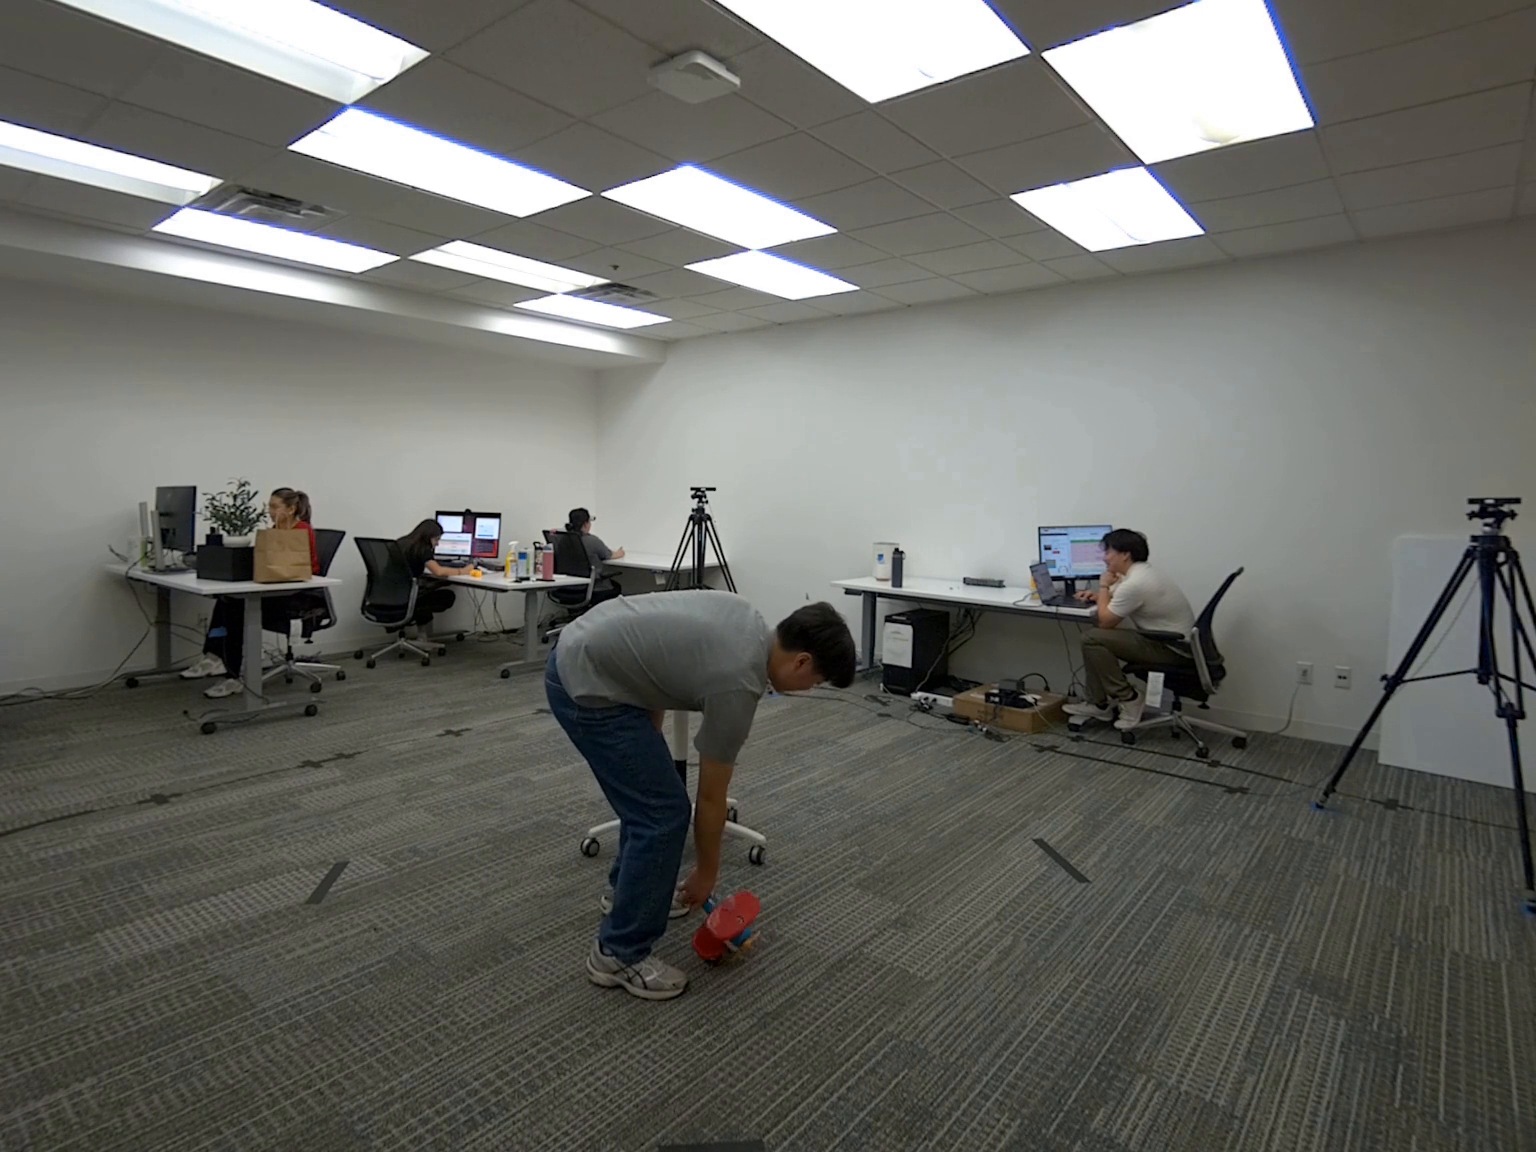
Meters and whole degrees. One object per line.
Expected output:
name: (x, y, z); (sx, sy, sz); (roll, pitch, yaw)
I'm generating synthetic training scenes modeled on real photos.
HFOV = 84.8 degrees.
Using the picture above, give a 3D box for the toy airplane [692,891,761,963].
toy airplane: (-0.164, 1.003, 2.515); (0.157, 0.256, 0.254); (-43, 11, 25)
